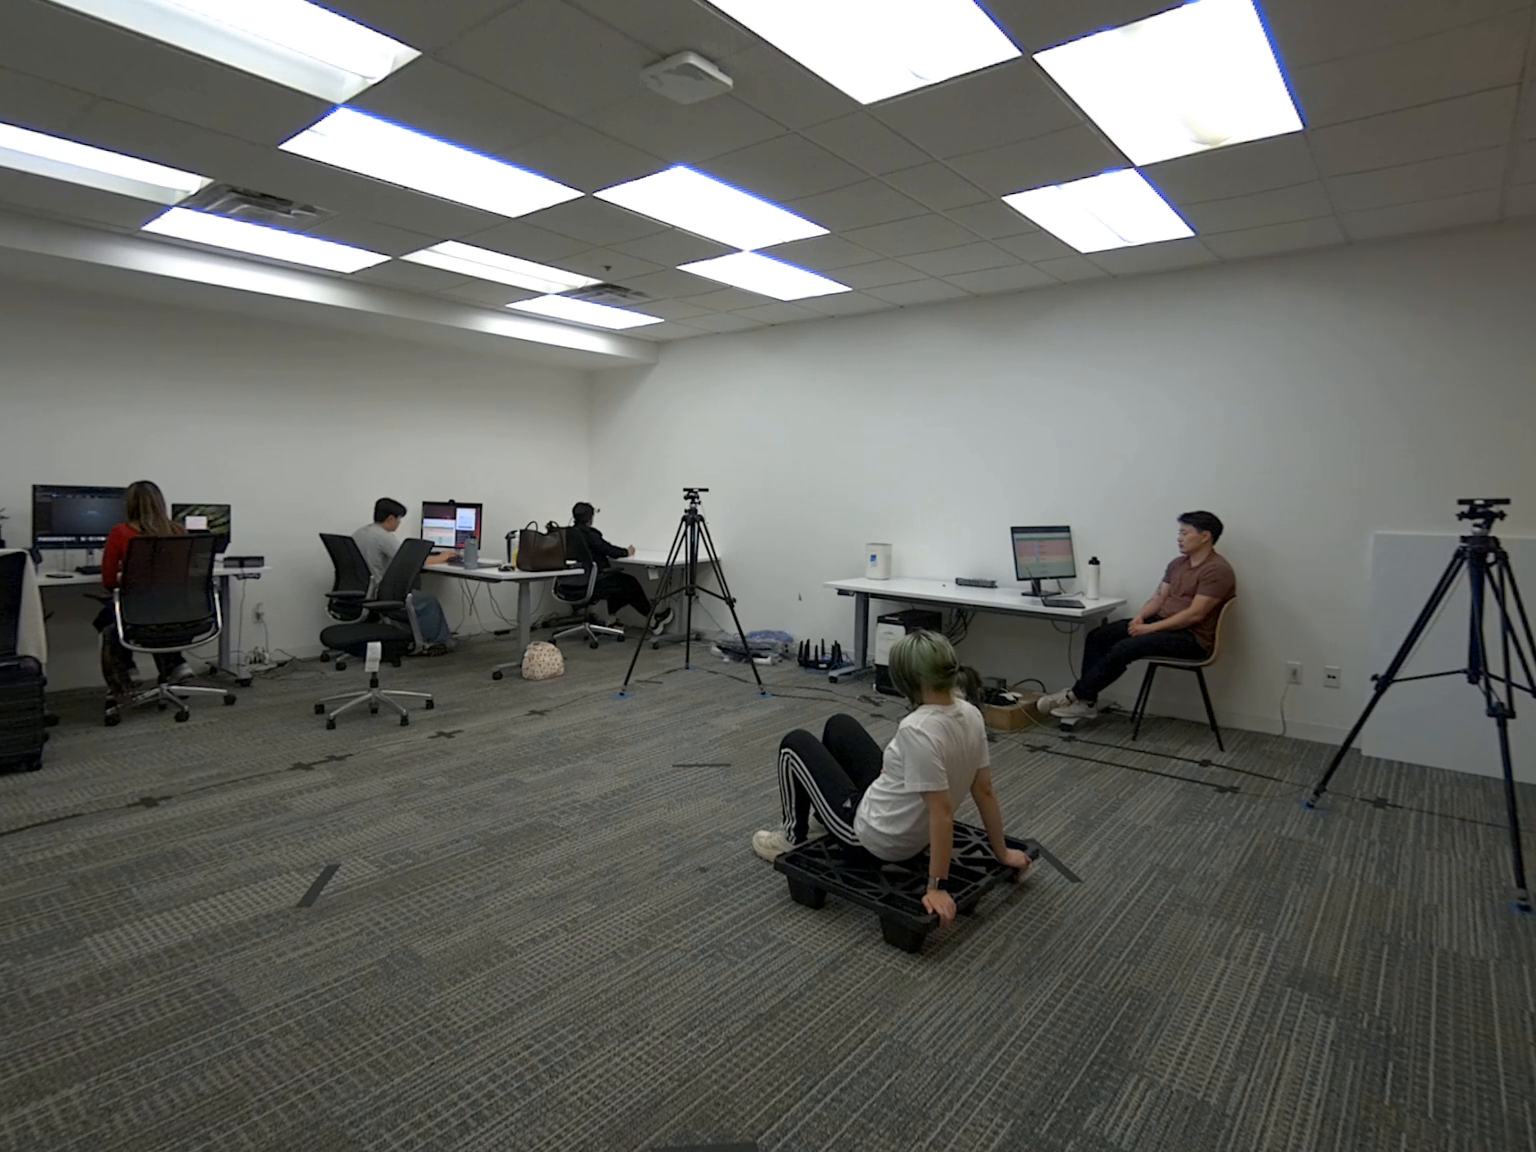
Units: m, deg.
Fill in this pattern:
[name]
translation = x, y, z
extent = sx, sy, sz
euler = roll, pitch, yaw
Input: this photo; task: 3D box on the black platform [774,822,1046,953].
[black platform]
translation = 0.483, 1.029, 2.982
extent = 0.626, 0.143, 0.781
euler = 5, 6, 43
